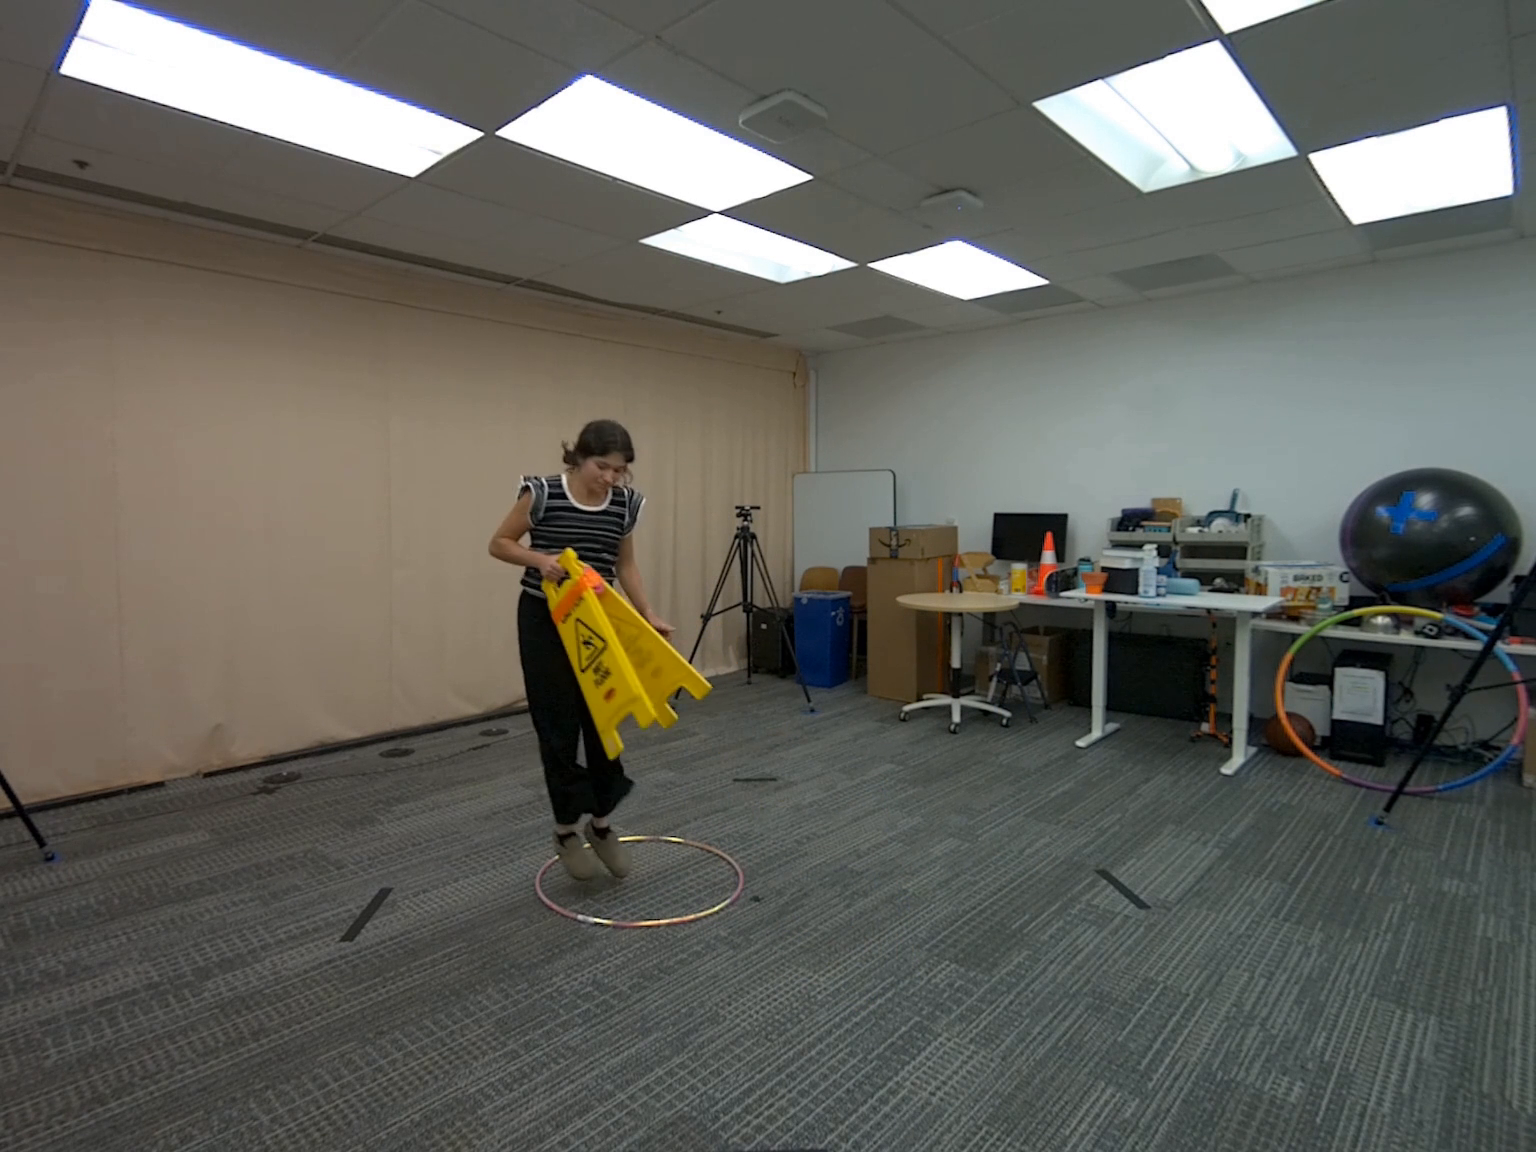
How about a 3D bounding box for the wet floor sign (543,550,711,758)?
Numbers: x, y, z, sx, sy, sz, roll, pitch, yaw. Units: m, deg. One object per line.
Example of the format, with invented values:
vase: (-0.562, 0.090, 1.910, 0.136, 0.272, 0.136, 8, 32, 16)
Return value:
wet floor sign: (-0.522, 0.266, 2.745, 0.283, 0.657, 0.284, -18, -23, -52)
